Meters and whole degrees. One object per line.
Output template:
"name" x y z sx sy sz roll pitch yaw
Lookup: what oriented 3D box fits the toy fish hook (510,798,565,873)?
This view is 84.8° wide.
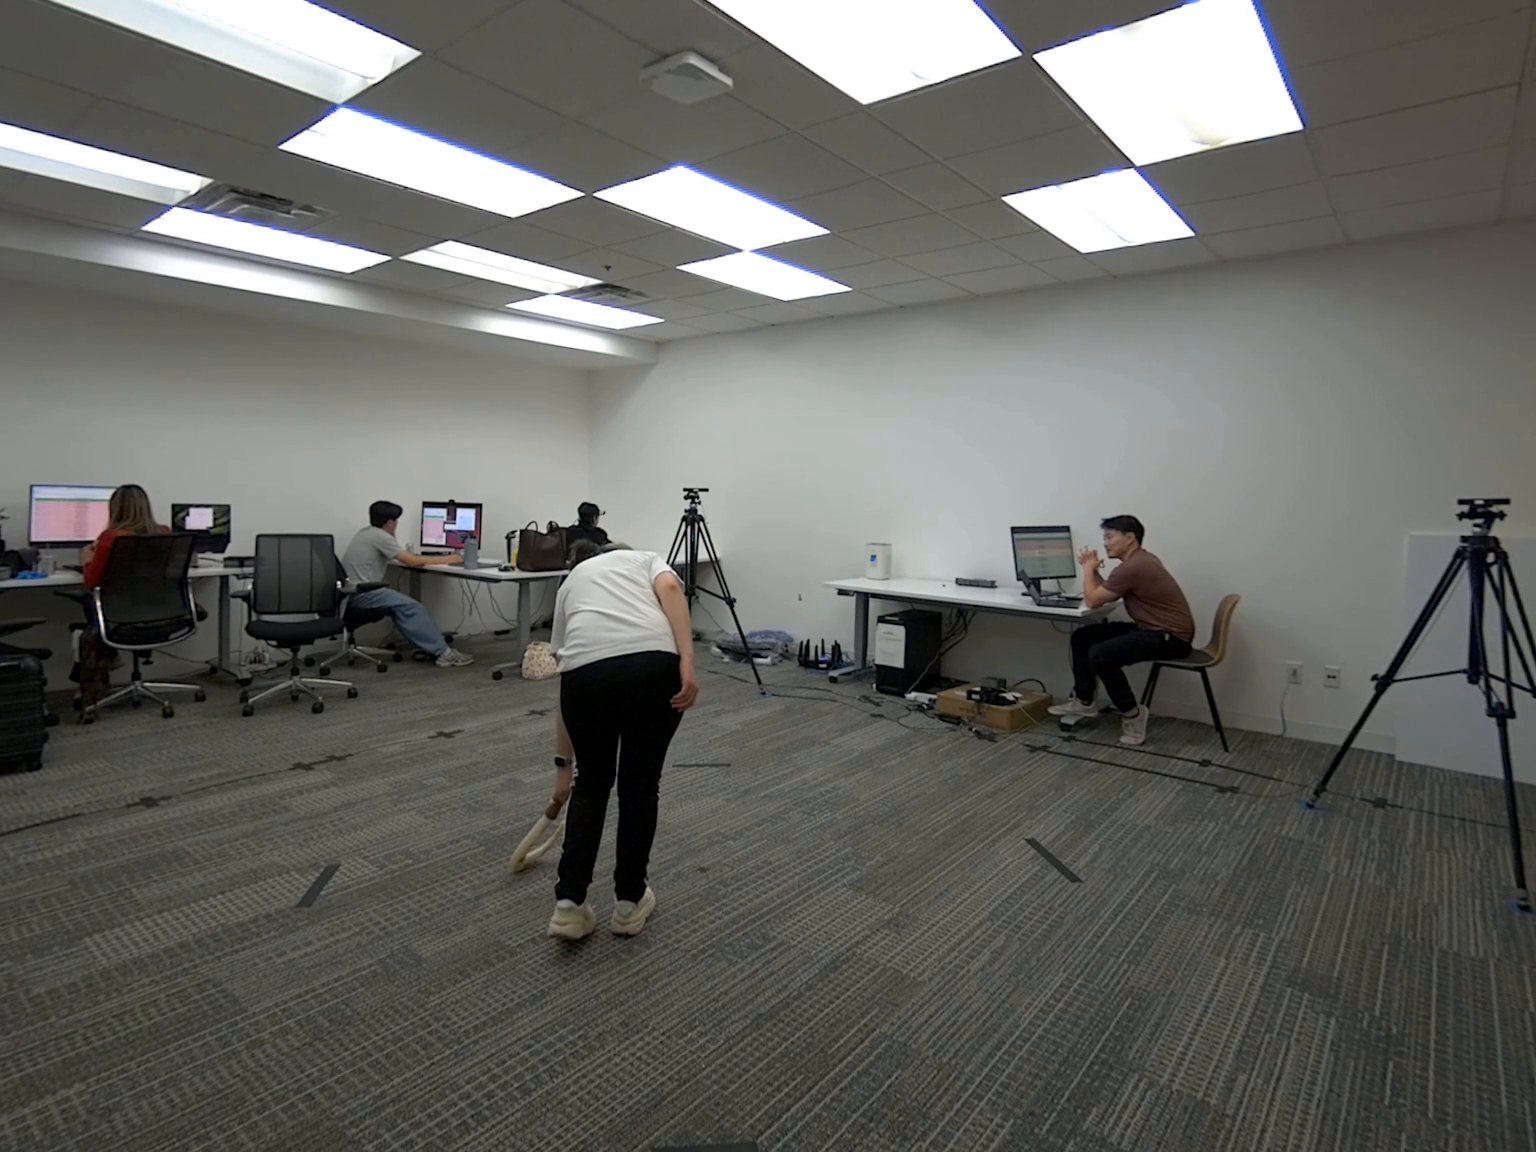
"toy fish hook" -0.778 0.863 3.015 0.049 0.504 0.220 42 25 15
